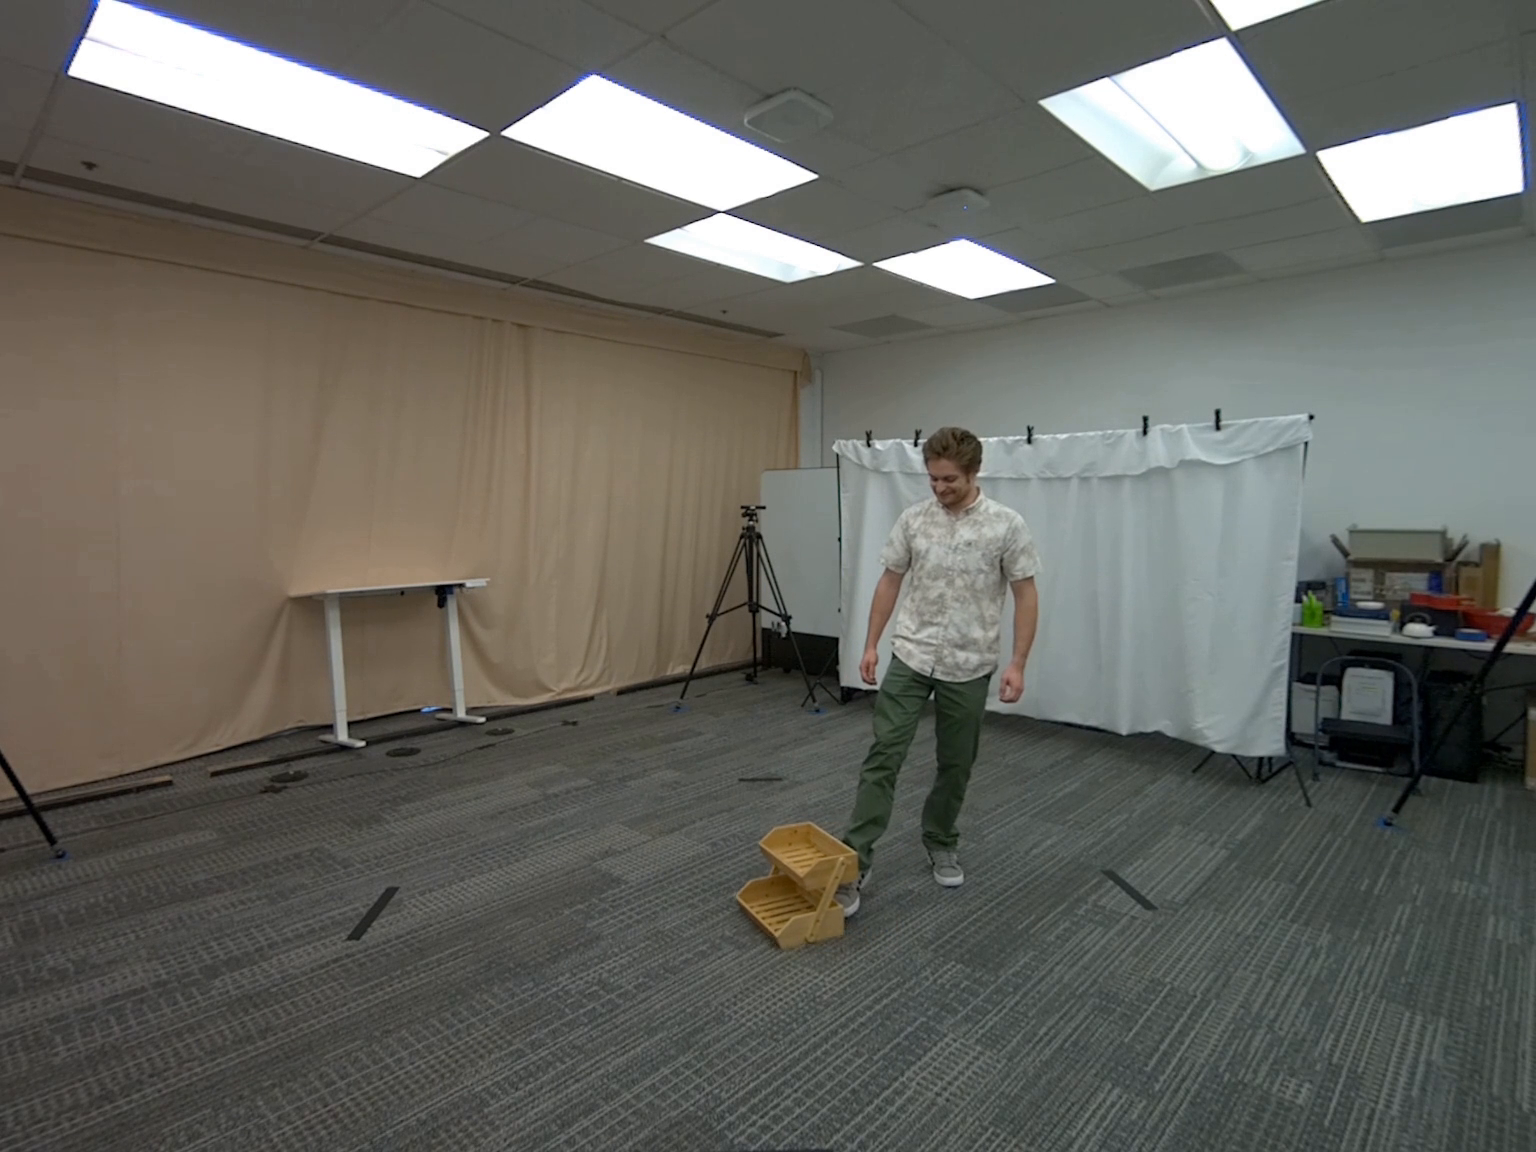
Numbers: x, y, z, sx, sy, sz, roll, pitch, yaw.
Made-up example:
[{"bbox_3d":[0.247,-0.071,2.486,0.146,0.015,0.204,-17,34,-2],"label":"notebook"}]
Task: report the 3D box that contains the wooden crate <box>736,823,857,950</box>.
[{"bbox_3d":[0.089,1.022,2.820,0.294,0.273,0.333,-1,4,-28],"label":"wooden crate"}]
